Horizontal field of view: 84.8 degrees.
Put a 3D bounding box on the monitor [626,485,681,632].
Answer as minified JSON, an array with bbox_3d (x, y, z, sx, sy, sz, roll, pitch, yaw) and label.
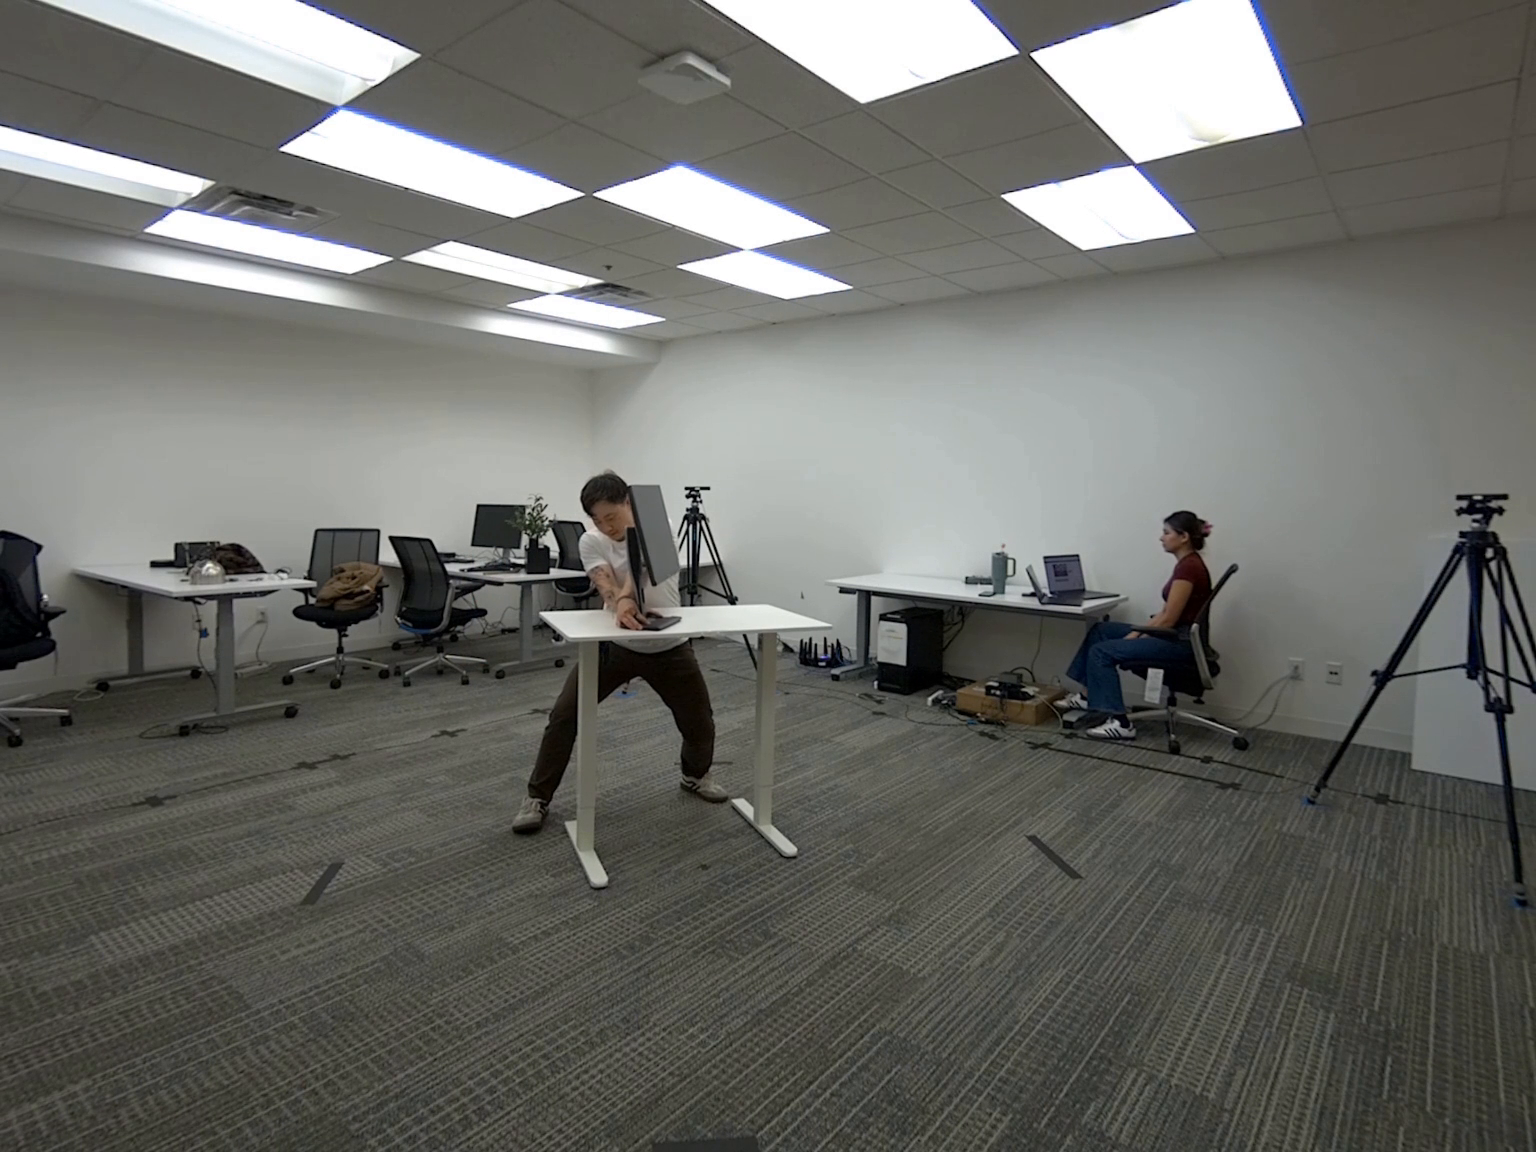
[{"bbox_3d":[-0.457,-0.077,3.139,0.188,0.521,0.538,0,4,4],"label":"monitor"}]
